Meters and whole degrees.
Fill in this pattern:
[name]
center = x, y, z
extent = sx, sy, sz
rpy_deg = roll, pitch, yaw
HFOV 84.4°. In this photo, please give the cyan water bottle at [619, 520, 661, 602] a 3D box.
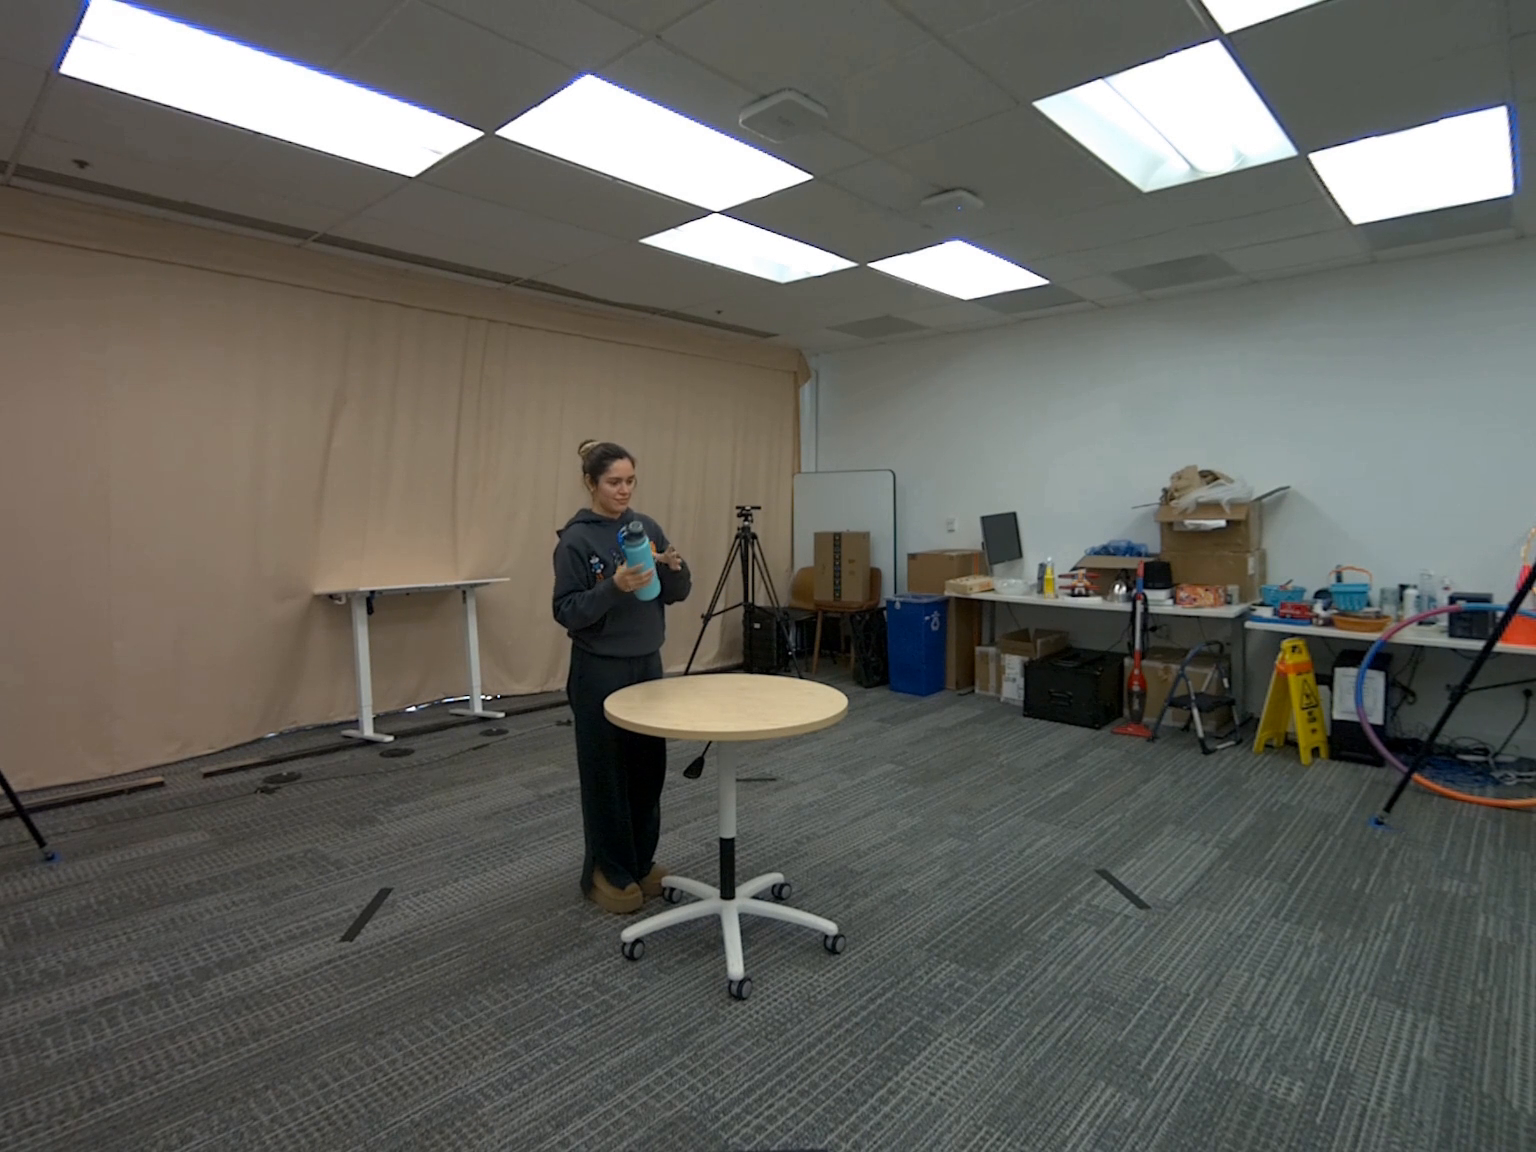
[cyan water bottle]
center = -0.411, -0.039, 2.736
extent = 0.092, 0.277, 0.094
rpy_deg = -4, 41, 2
